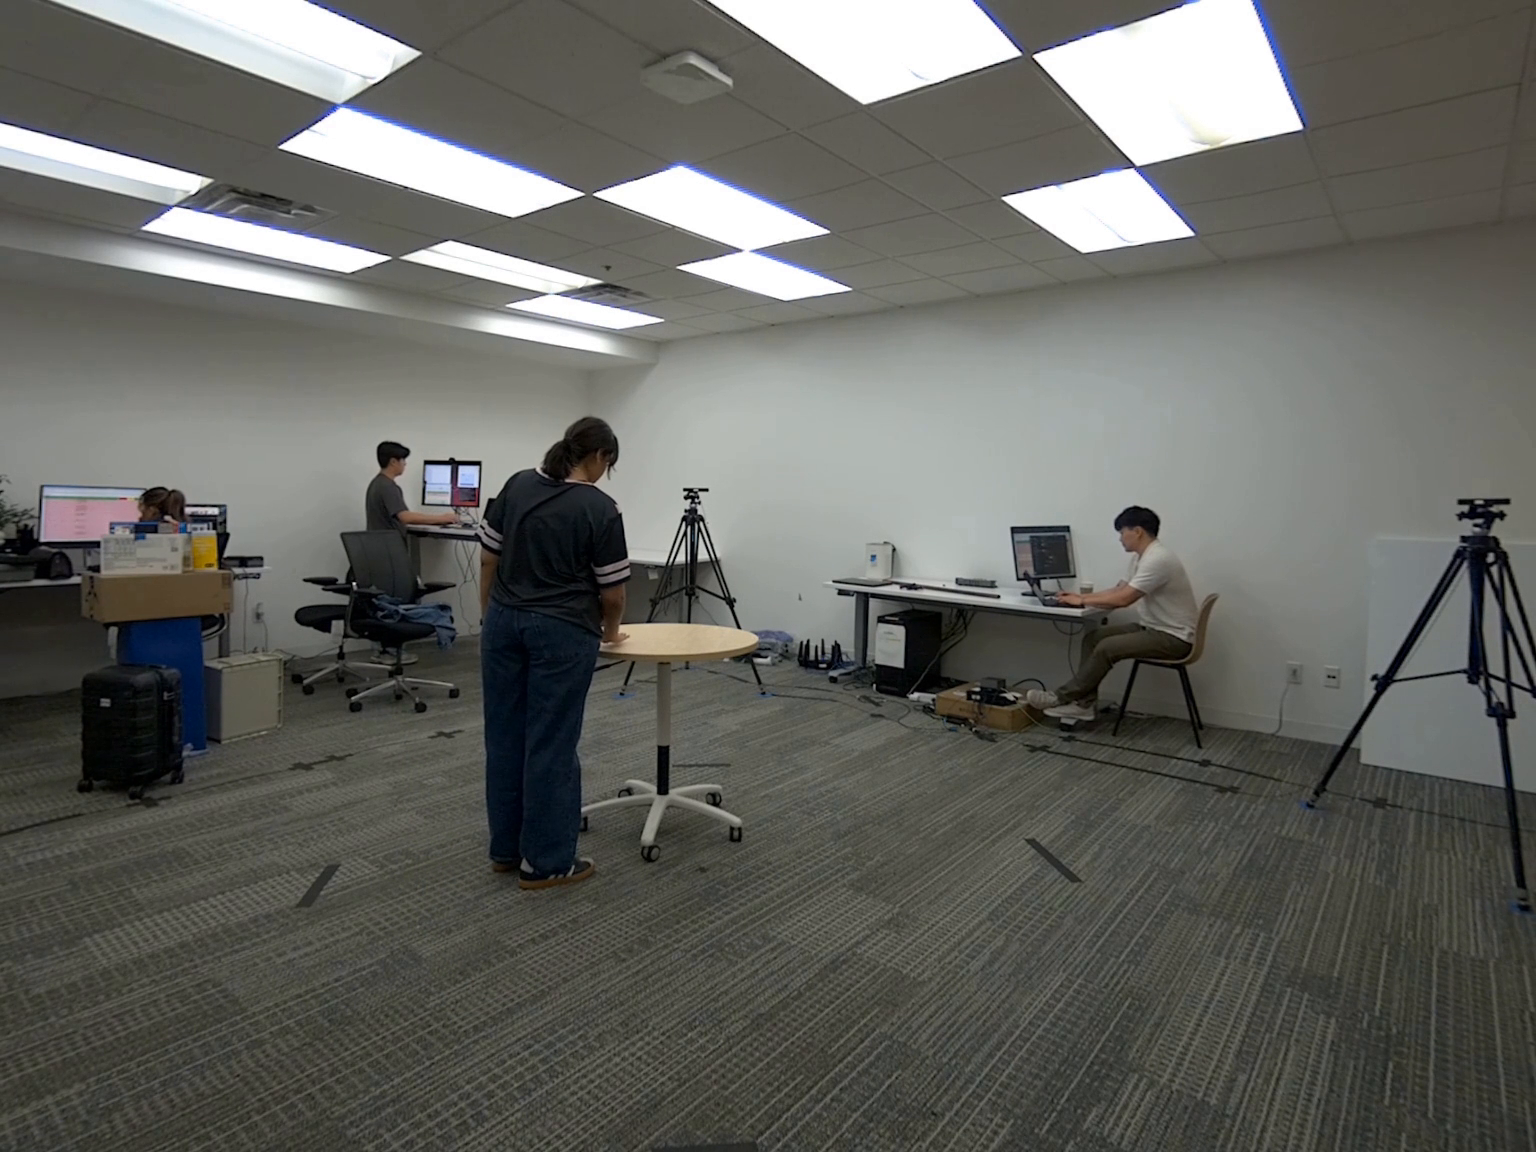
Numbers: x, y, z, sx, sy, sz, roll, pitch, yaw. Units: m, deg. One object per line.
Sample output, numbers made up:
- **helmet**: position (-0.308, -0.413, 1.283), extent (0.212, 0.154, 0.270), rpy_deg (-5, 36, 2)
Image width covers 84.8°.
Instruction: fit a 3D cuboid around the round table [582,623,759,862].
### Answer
- **round table**: position (-0.449, 0.637, 3.480), extent (0.784, 0.784, 0.788), rpy_deg (1, 4, -2)
